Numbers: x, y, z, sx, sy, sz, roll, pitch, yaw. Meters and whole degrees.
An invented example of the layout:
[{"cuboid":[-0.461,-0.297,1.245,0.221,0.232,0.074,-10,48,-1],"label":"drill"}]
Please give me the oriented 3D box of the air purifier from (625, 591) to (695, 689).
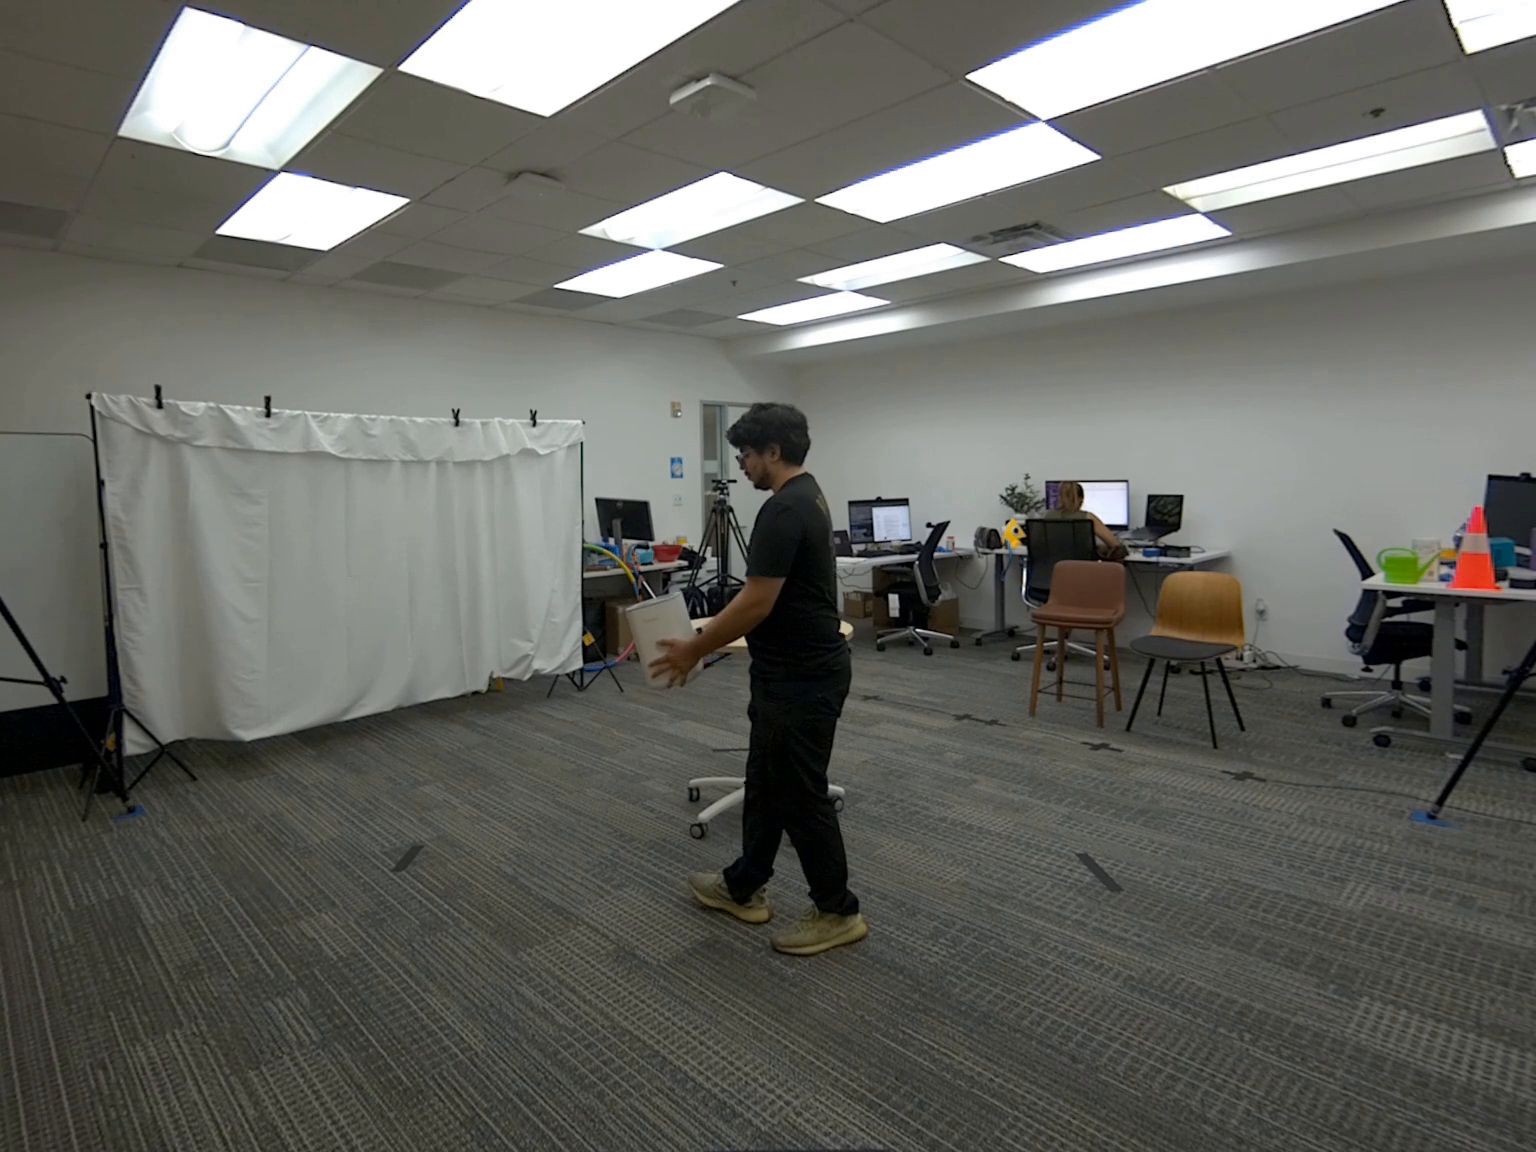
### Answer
[{"cuboid":[-0.313,0.199,2.644,0.172,0.265,0.171,-16,1,7],"label":"air purifier"}]
